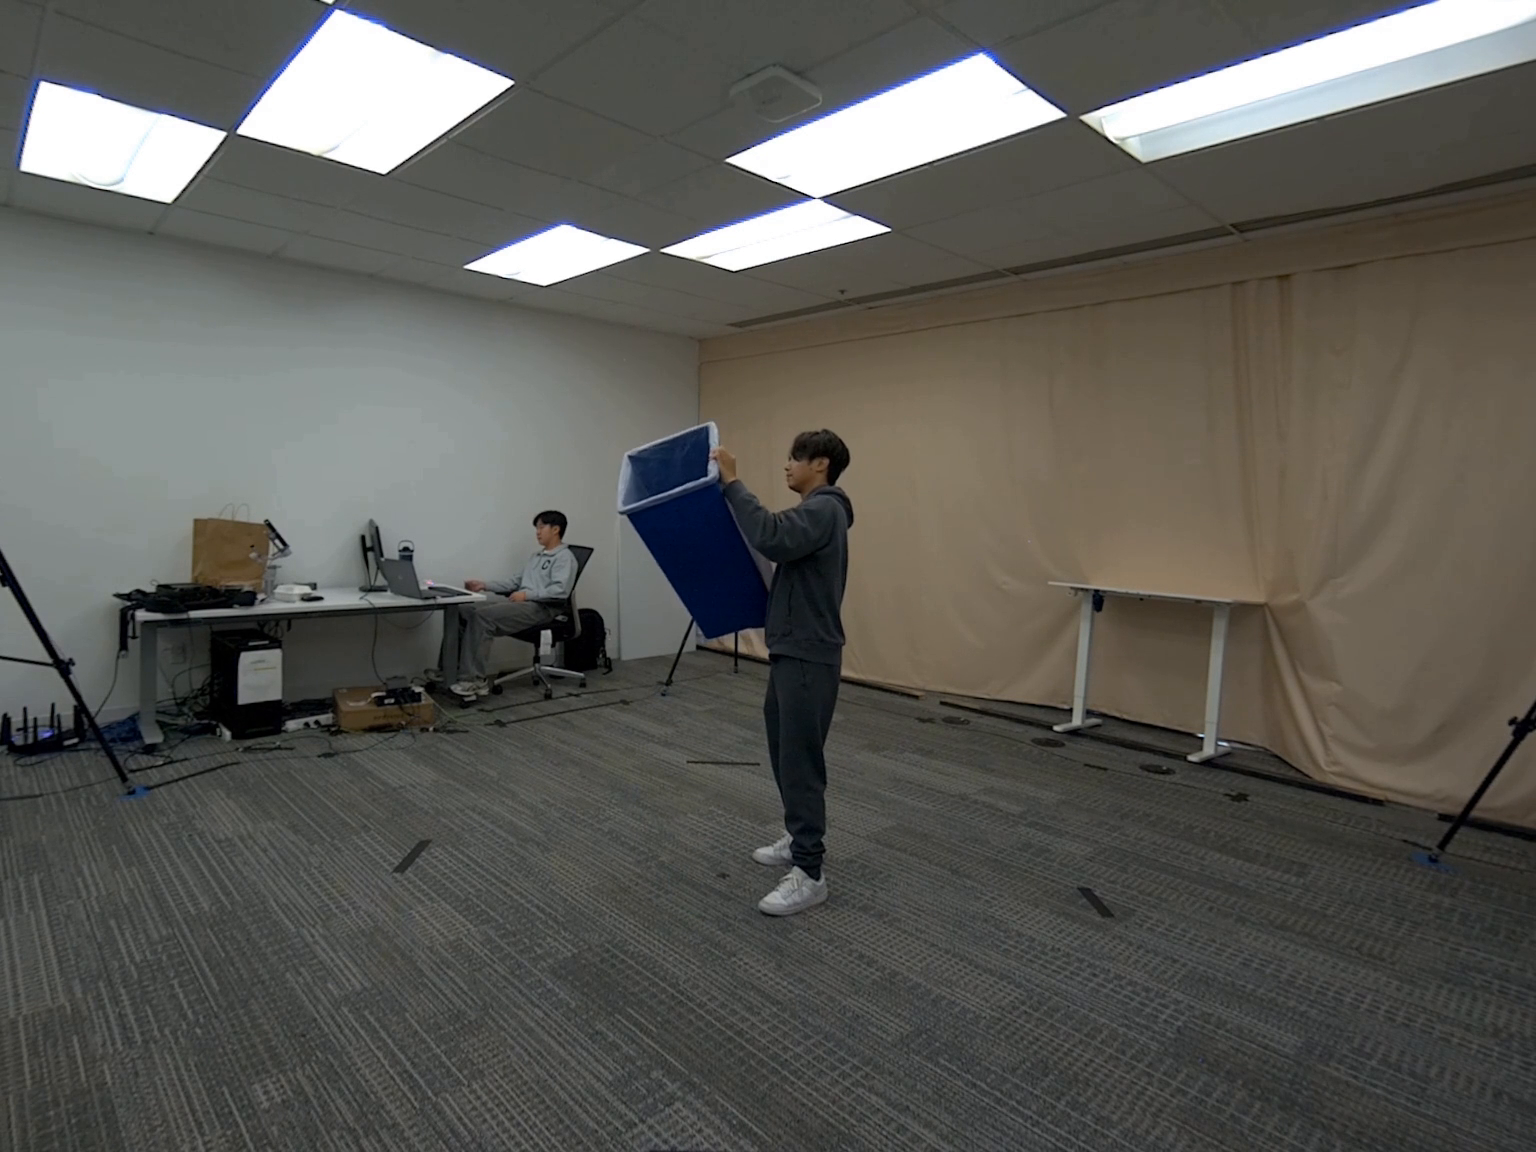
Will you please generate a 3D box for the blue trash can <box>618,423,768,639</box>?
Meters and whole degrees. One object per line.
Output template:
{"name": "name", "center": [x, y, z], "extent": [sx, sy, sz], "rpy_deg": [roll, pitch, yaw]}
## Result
{"name": "blue trash can", "center": [-0.245, -0.135, 3.125], "extent": [0.376, 0.693, 0.387], "rpy_deg": [-17, 38, 10]}
